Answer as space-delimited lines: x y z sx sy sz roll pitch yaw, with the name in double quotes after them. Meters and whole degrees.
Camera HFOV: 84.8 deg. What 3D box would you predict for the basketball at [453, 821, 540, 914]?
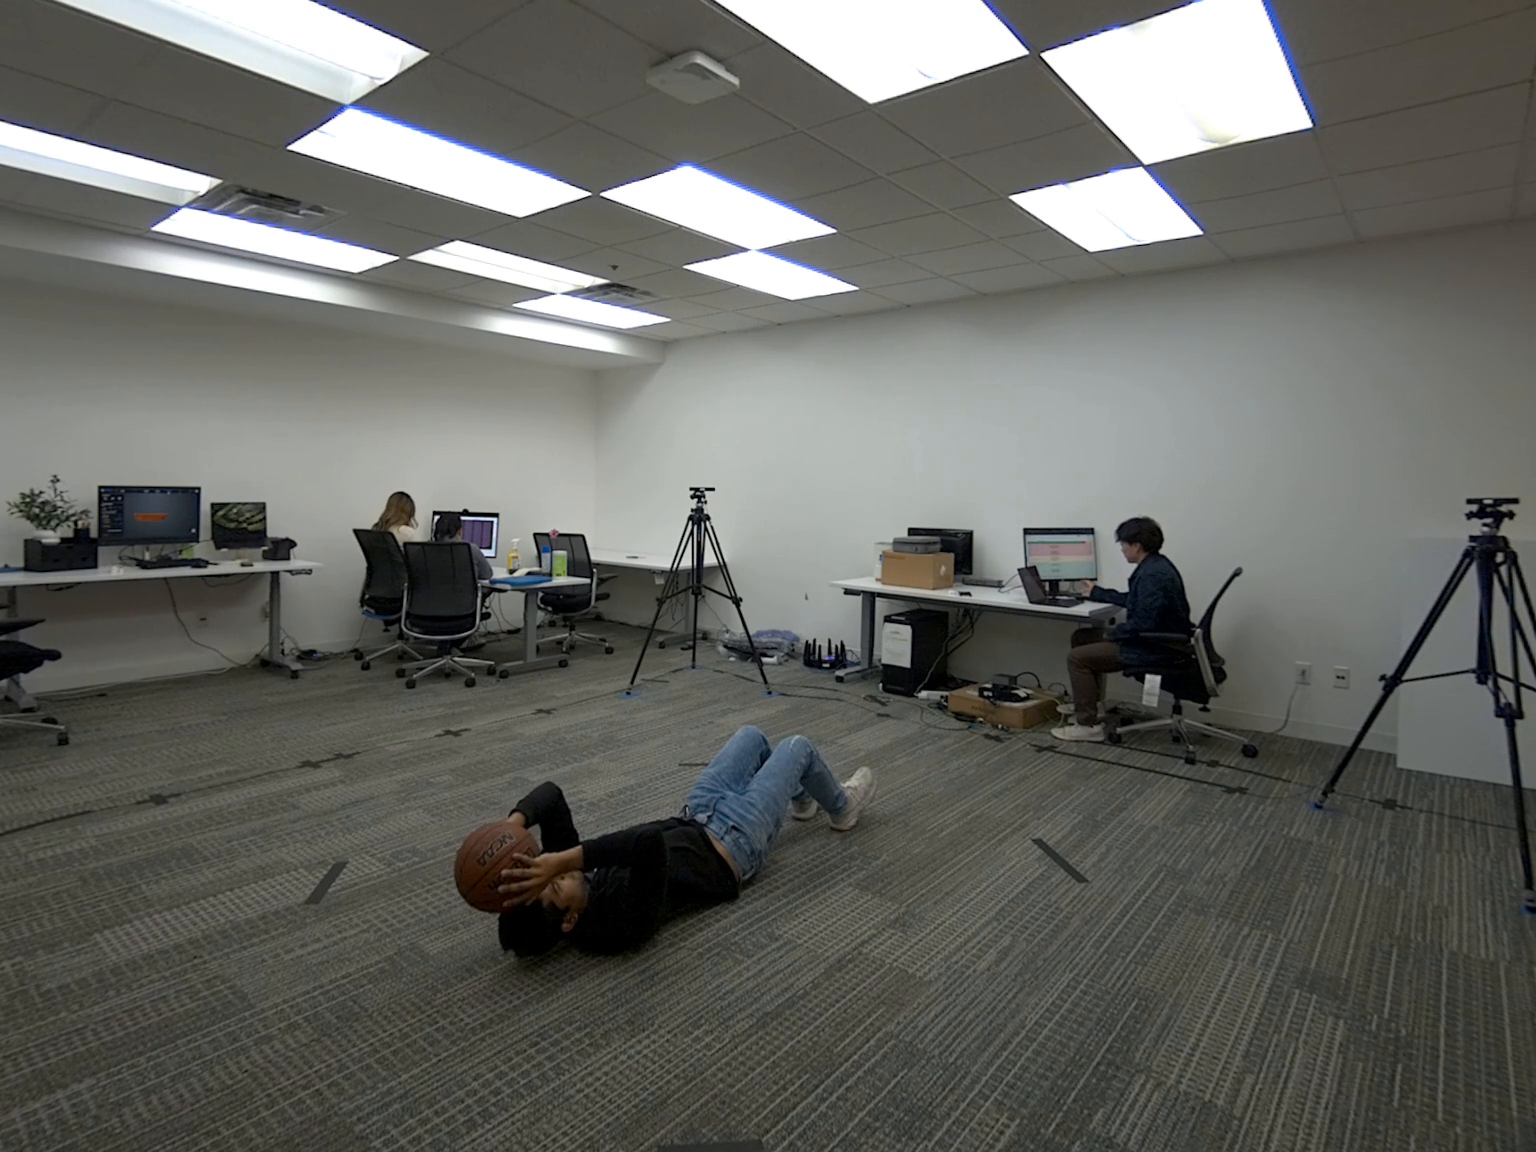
-0.756 0.806 2.380 0.235 0.235 0.237 1 4 -2 "basketball"
